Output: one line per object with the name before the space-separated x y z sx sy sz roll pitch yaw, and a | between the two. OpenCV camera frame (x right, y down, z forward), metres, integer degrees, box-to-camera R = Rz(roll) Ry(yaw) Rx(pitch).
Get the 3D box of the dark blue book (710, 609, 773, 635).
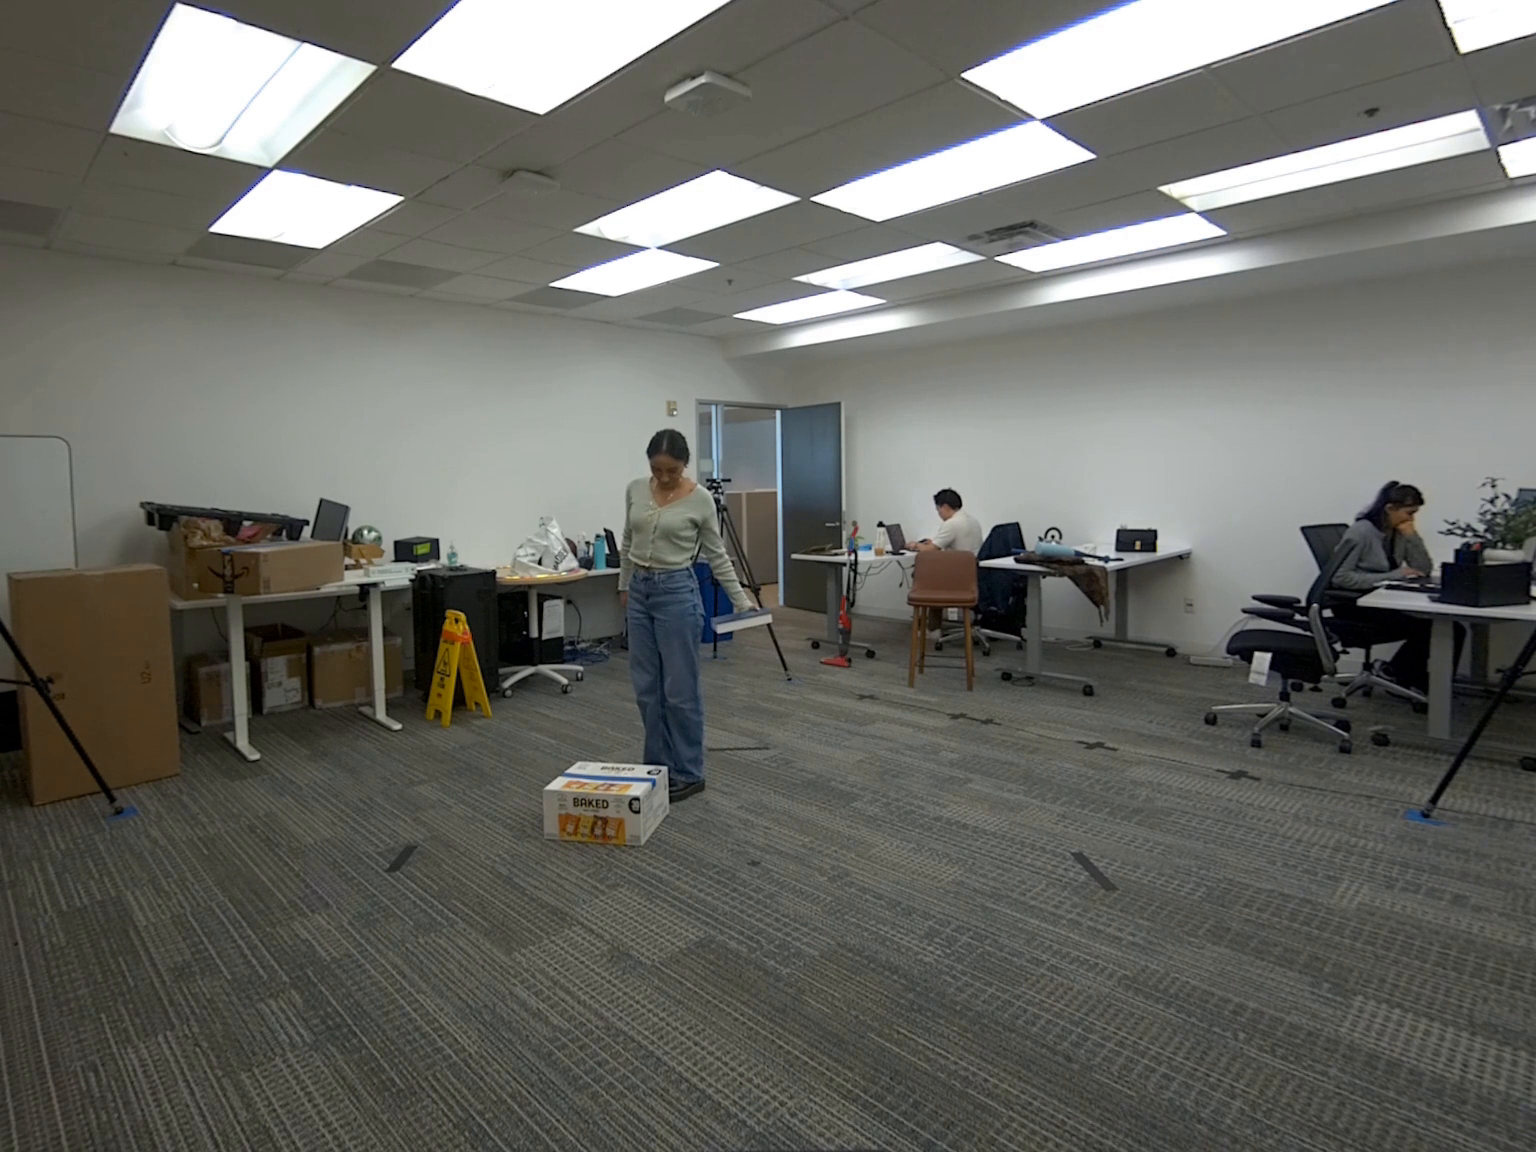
dark blue book | -0.111 0.189 3.641 0.243 0.045 0.166 -12 8 -10
